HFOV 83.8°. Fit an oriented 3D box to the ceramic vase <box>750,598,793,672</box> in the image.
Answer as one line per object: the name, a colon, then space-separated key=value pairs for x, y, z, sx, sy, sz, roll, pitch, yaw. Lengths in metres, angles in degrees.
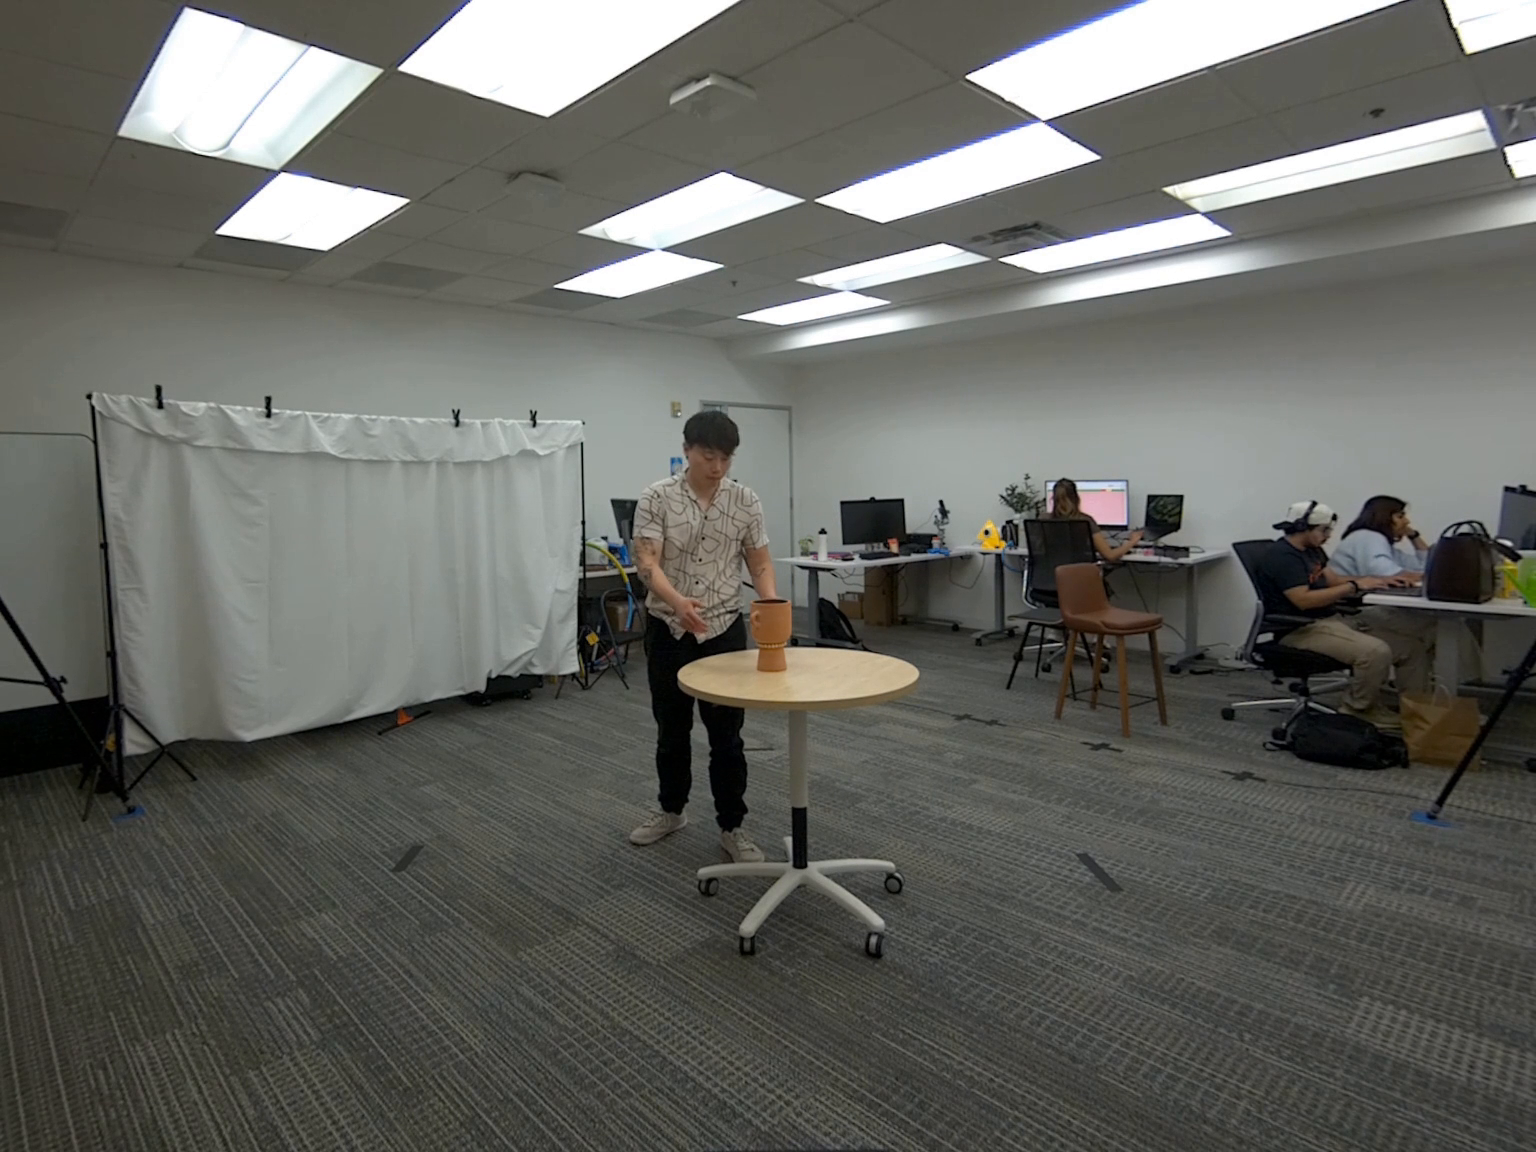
ceramic vase: x=0.009 y=0.196 z=2.768 sx=0.157 sy=0.219 sz=0.137 roll=-3 pitch=4 yaw=-14
